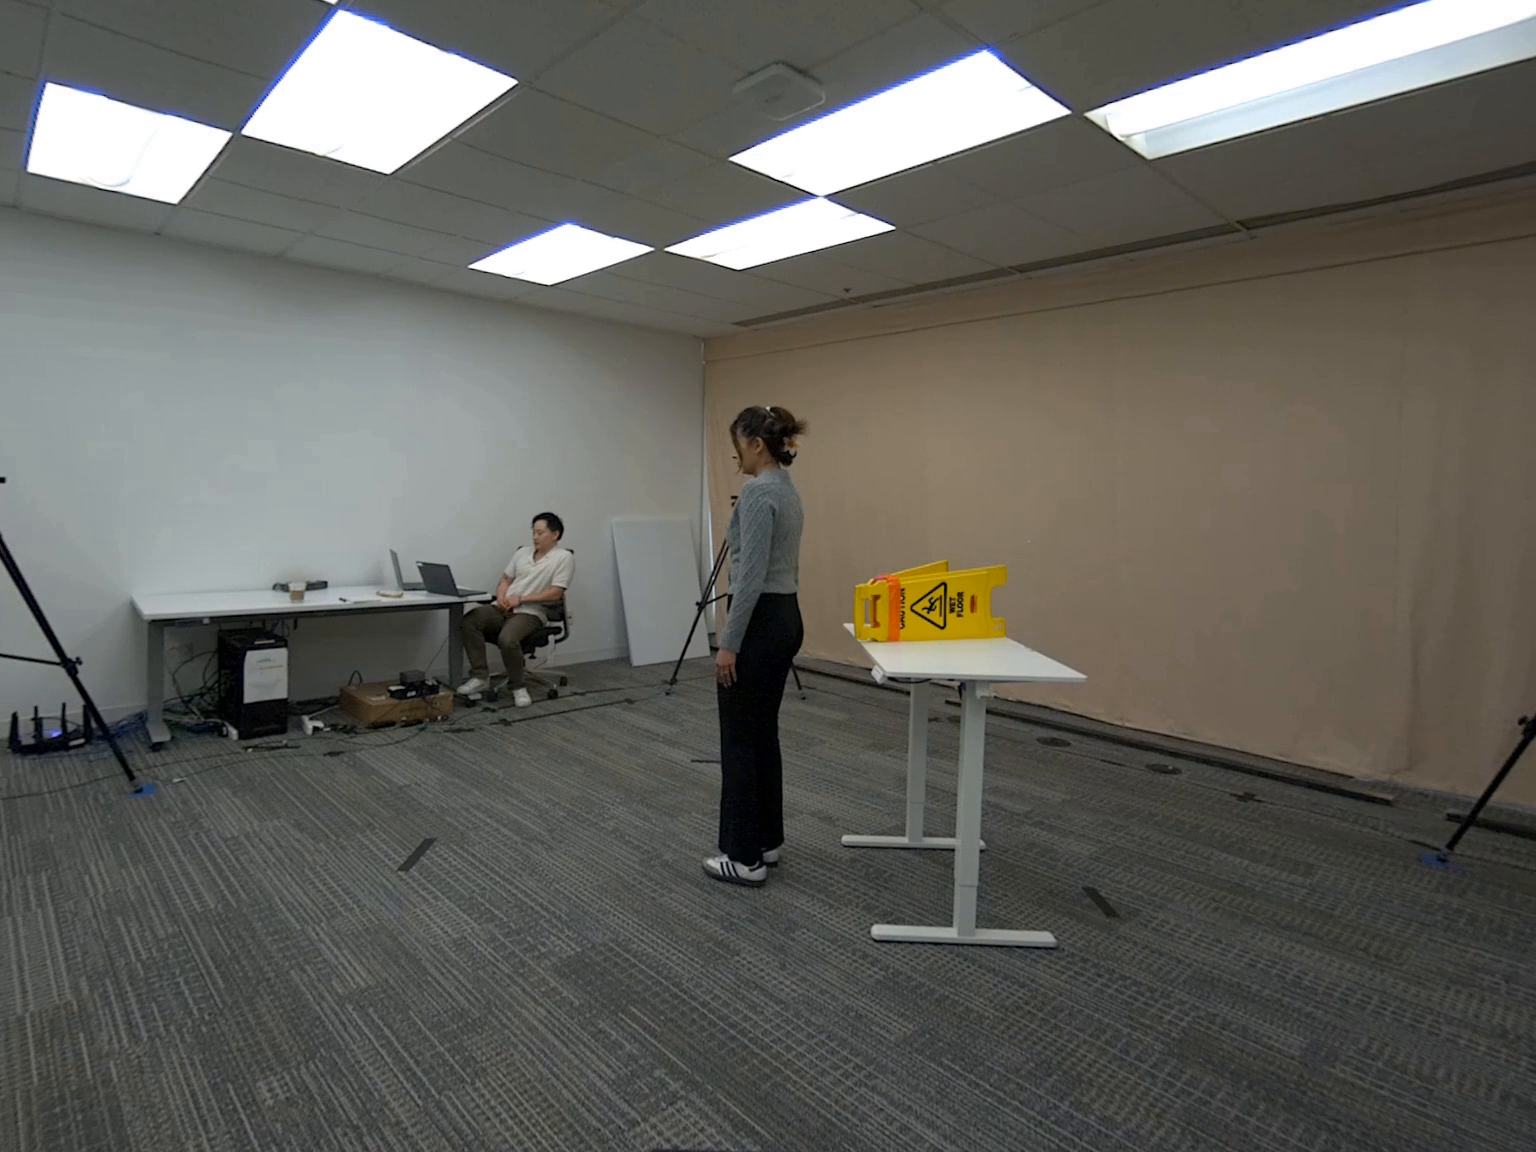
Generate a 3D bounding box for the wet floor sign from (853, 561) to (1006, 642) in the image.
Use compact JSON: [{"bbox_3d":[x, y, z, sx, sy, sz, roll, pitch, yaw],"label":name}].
[{"bbox_3d":[0.563,0.111,3.181,0.633,0.281,0.297,-5,7,-35],"label":"wet floor sign"}]
